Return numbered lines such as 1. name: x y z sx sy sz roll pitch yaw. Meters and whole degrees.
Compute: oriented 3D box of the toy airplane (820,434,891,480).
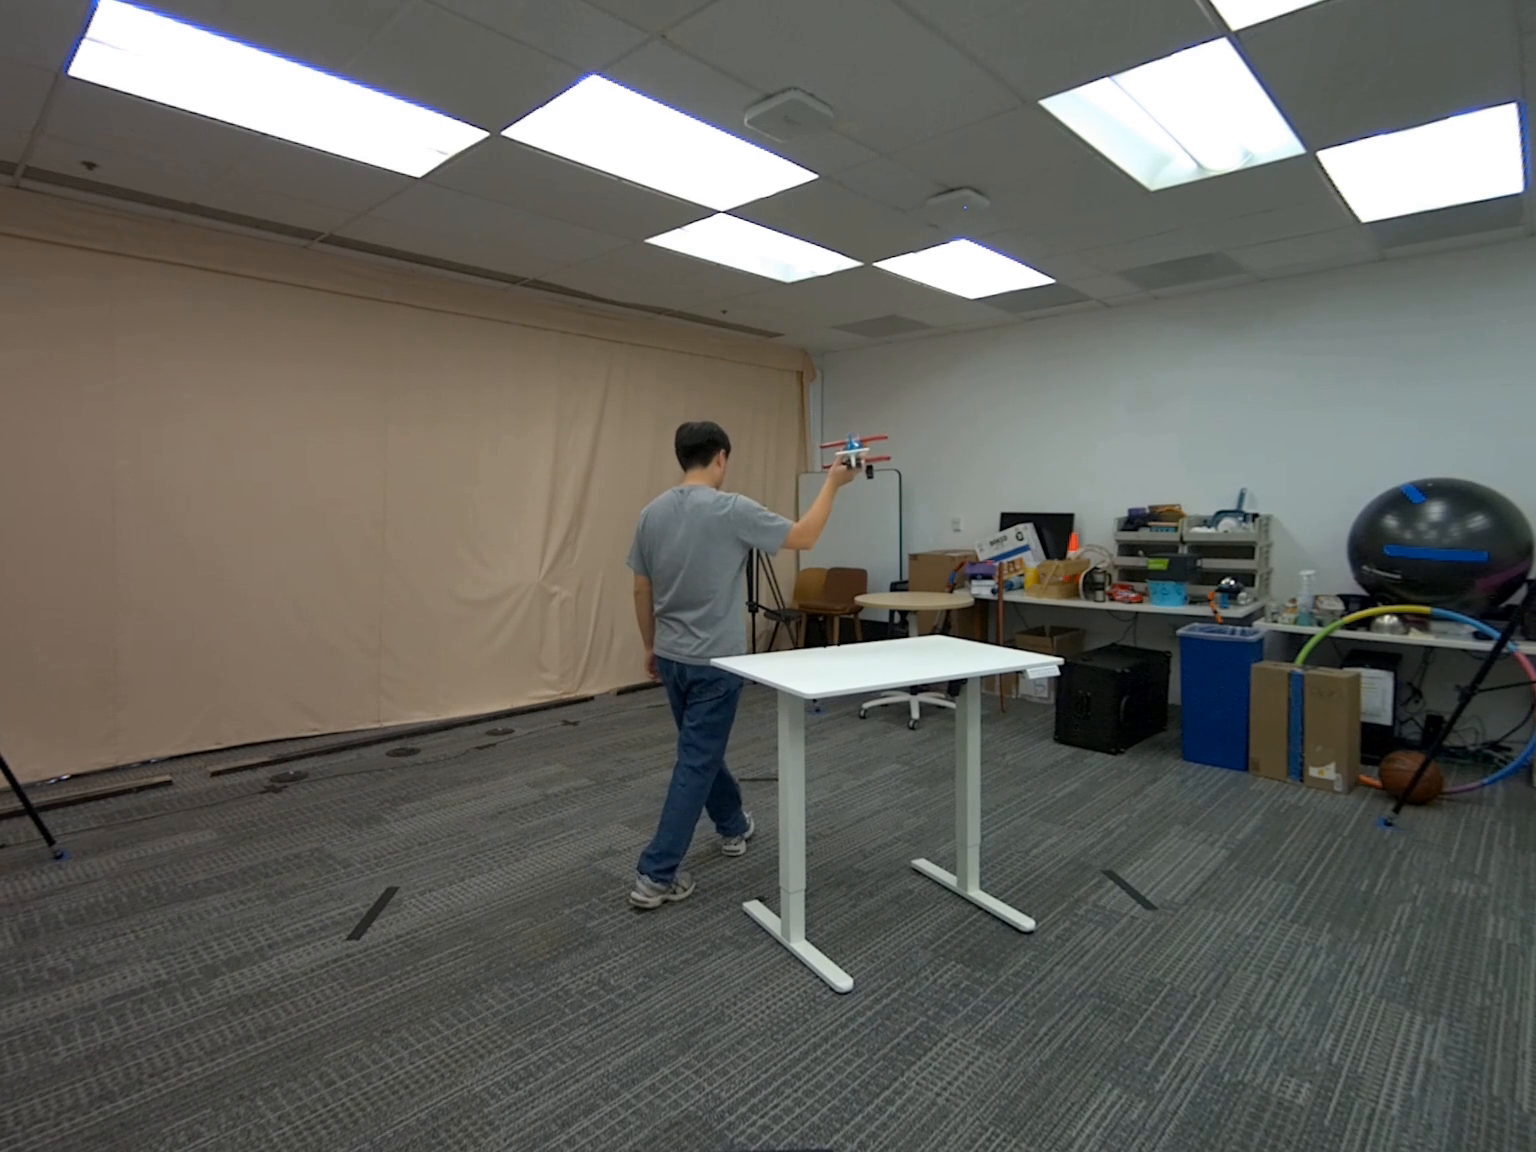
1. toy airplane: 0.350 -0.458 3.111 0.247 0.158 0.261 -3 -11 -17
